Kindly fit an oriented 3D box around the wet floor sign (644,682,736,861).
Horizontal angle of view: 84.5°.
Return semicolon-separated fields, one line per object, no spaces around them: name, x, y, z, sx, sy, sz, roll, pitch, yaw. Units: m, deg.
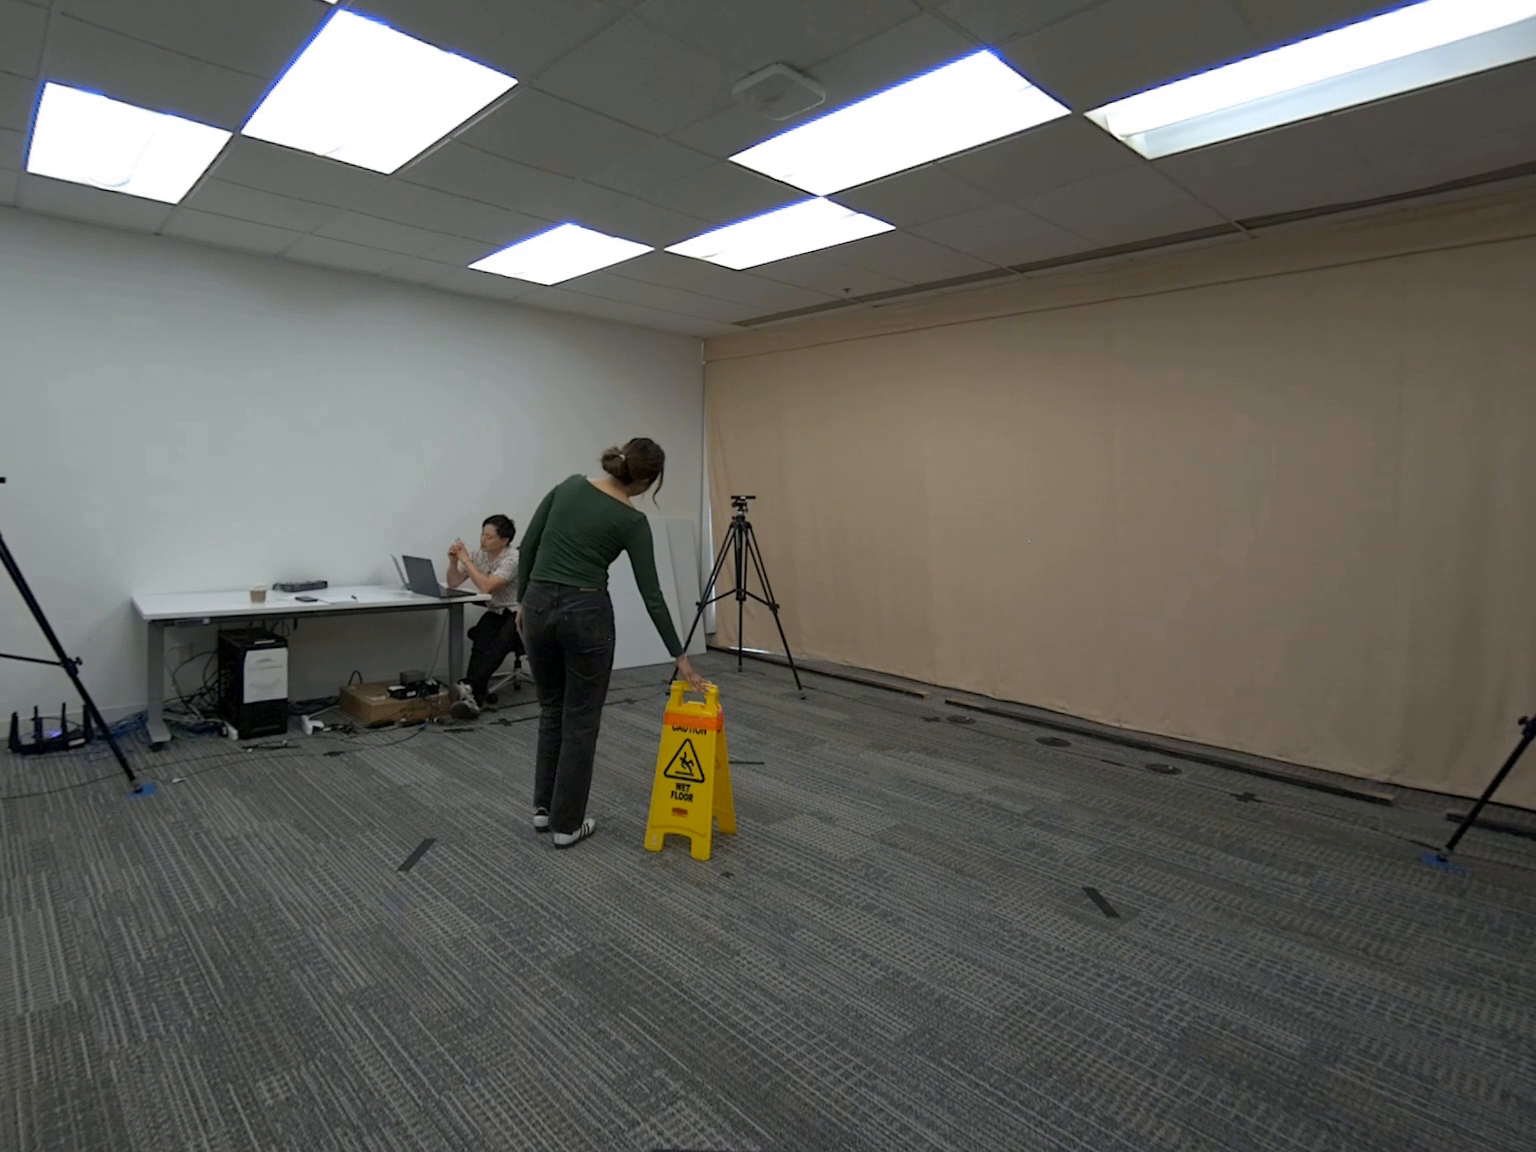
wet floor sign;-0.313;0.752;3.386;0.287;0.644;0.286;1;4;20
